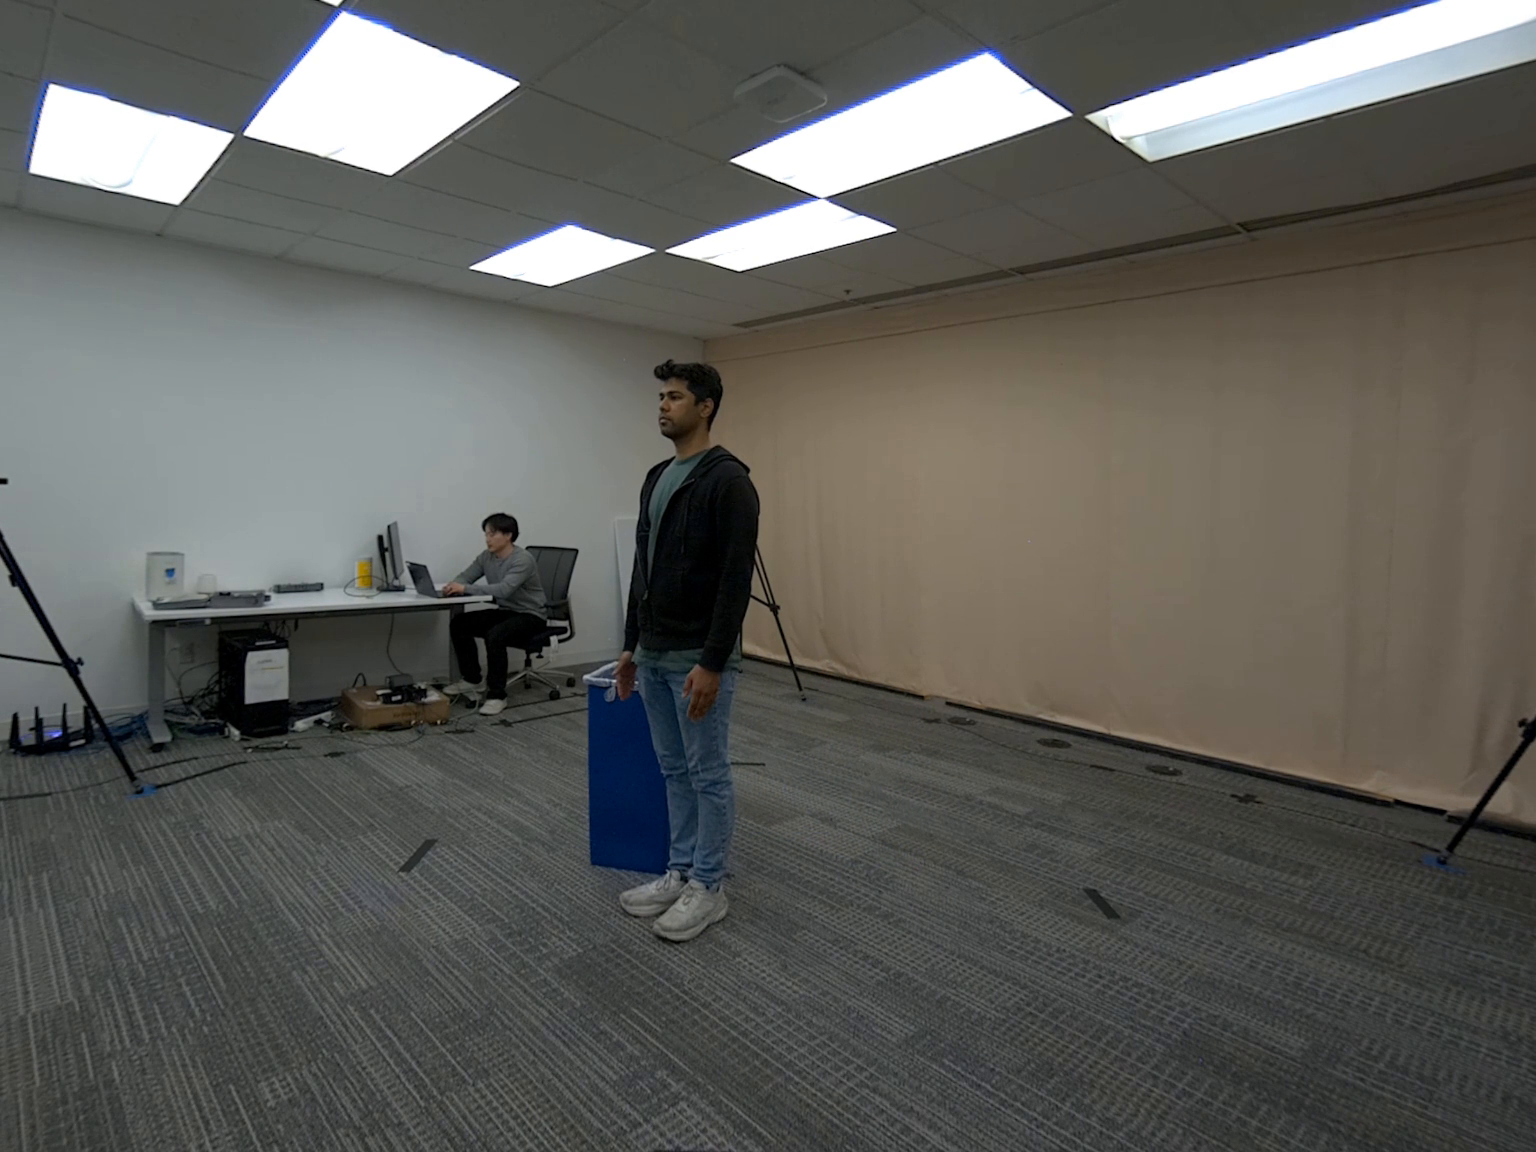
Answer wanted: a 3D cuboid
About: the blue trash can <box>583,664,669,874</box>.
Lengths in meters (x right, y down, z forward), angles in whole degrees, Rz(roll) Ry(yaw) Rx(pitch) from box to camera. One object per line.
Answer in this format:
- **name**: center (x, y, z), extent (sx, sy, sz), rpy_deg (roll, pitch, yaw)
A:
- **blue trash can**: center (-0.490, 0.726, 3.263), extent (0.378, 0.712, 0.374), rpy_deg (1, 3, 14)
